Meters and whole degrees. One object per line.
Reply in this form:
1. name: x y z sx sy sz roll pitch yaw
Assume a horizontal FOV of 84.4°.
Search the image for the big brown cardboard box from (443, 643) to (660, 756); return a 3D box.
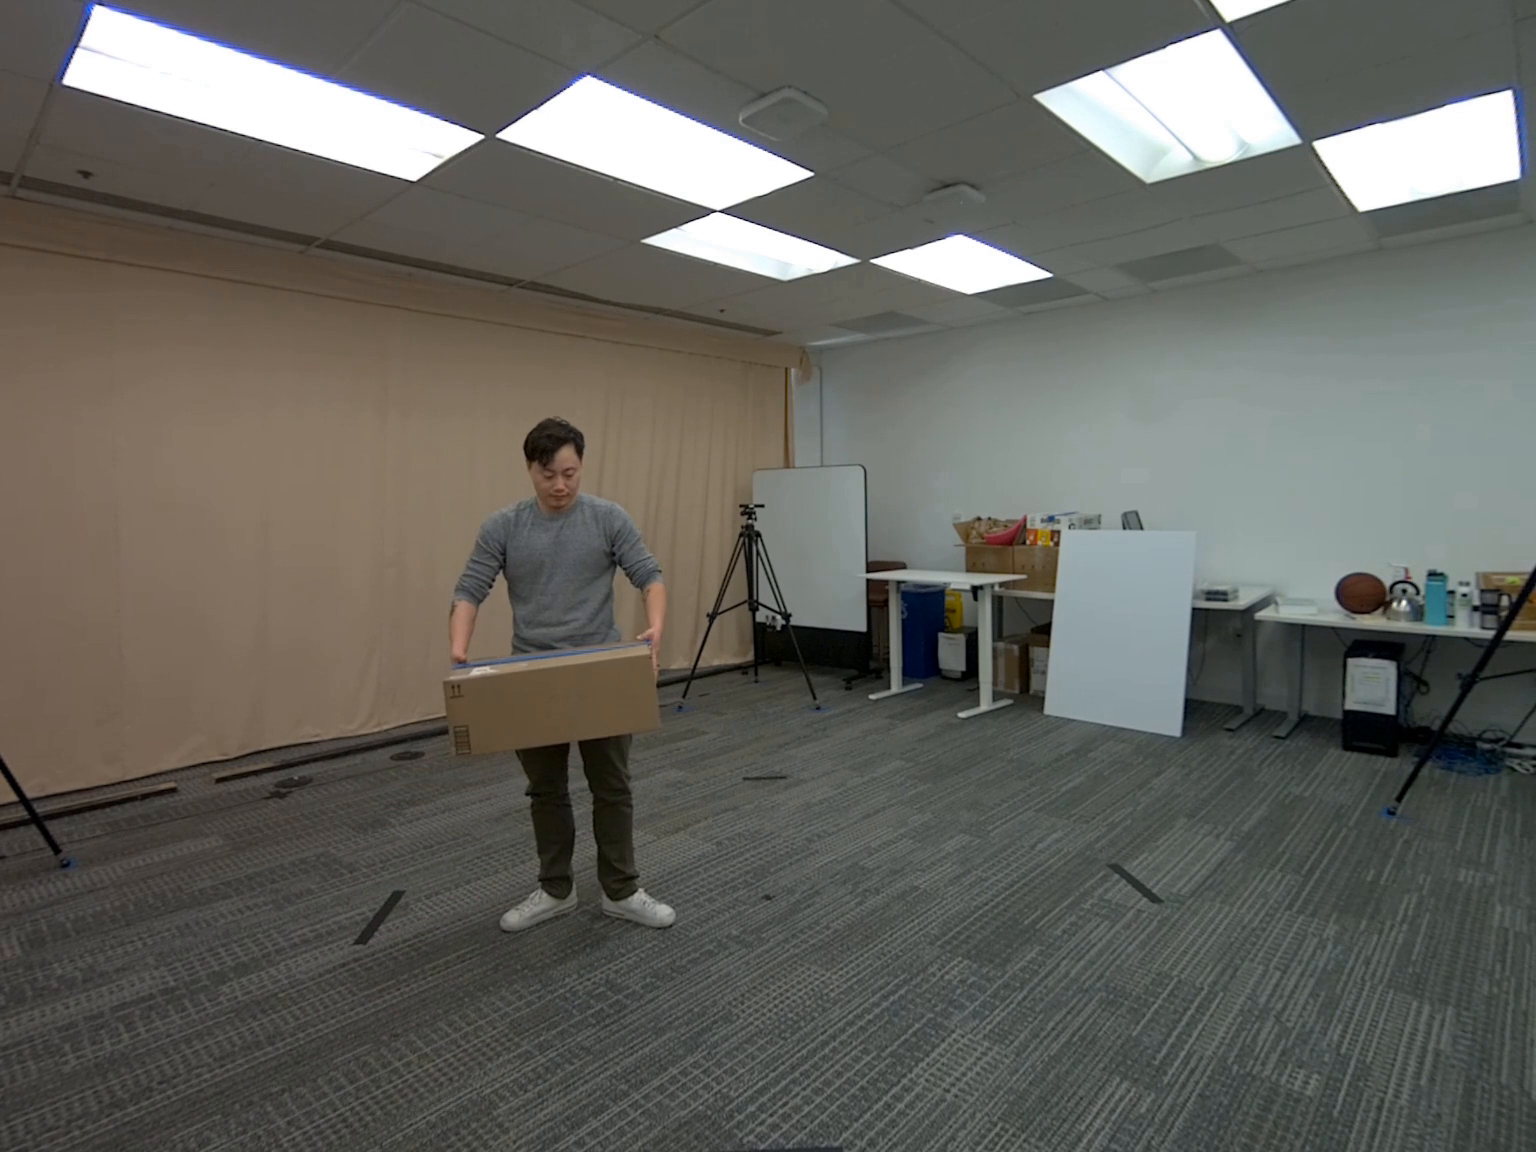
1. big brown cardboard box: -0.625 0.340 2.476 0.582 0.233 0.423 -6 2 -12
